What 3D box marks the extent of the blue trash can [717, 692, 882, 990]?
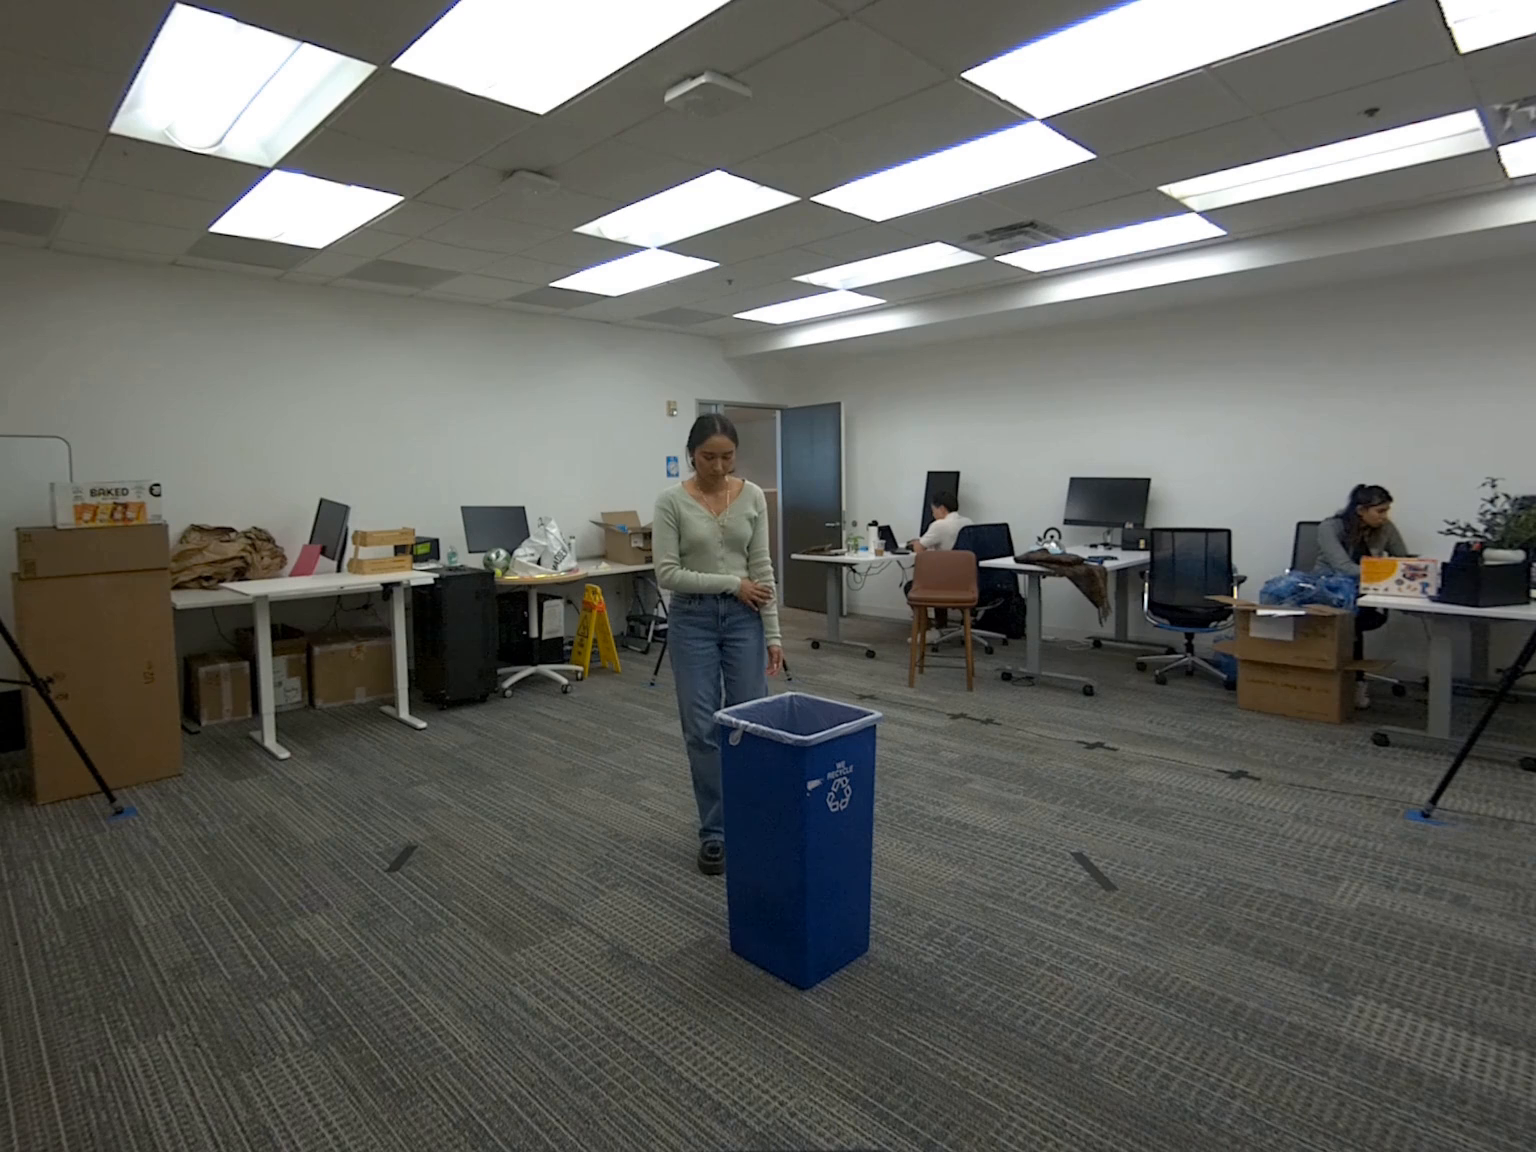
[{"bbox_3d":[0.102,0.754,2.506,0.385,0.711,0.368,3,5,44],"label":"blue trash can"}]
